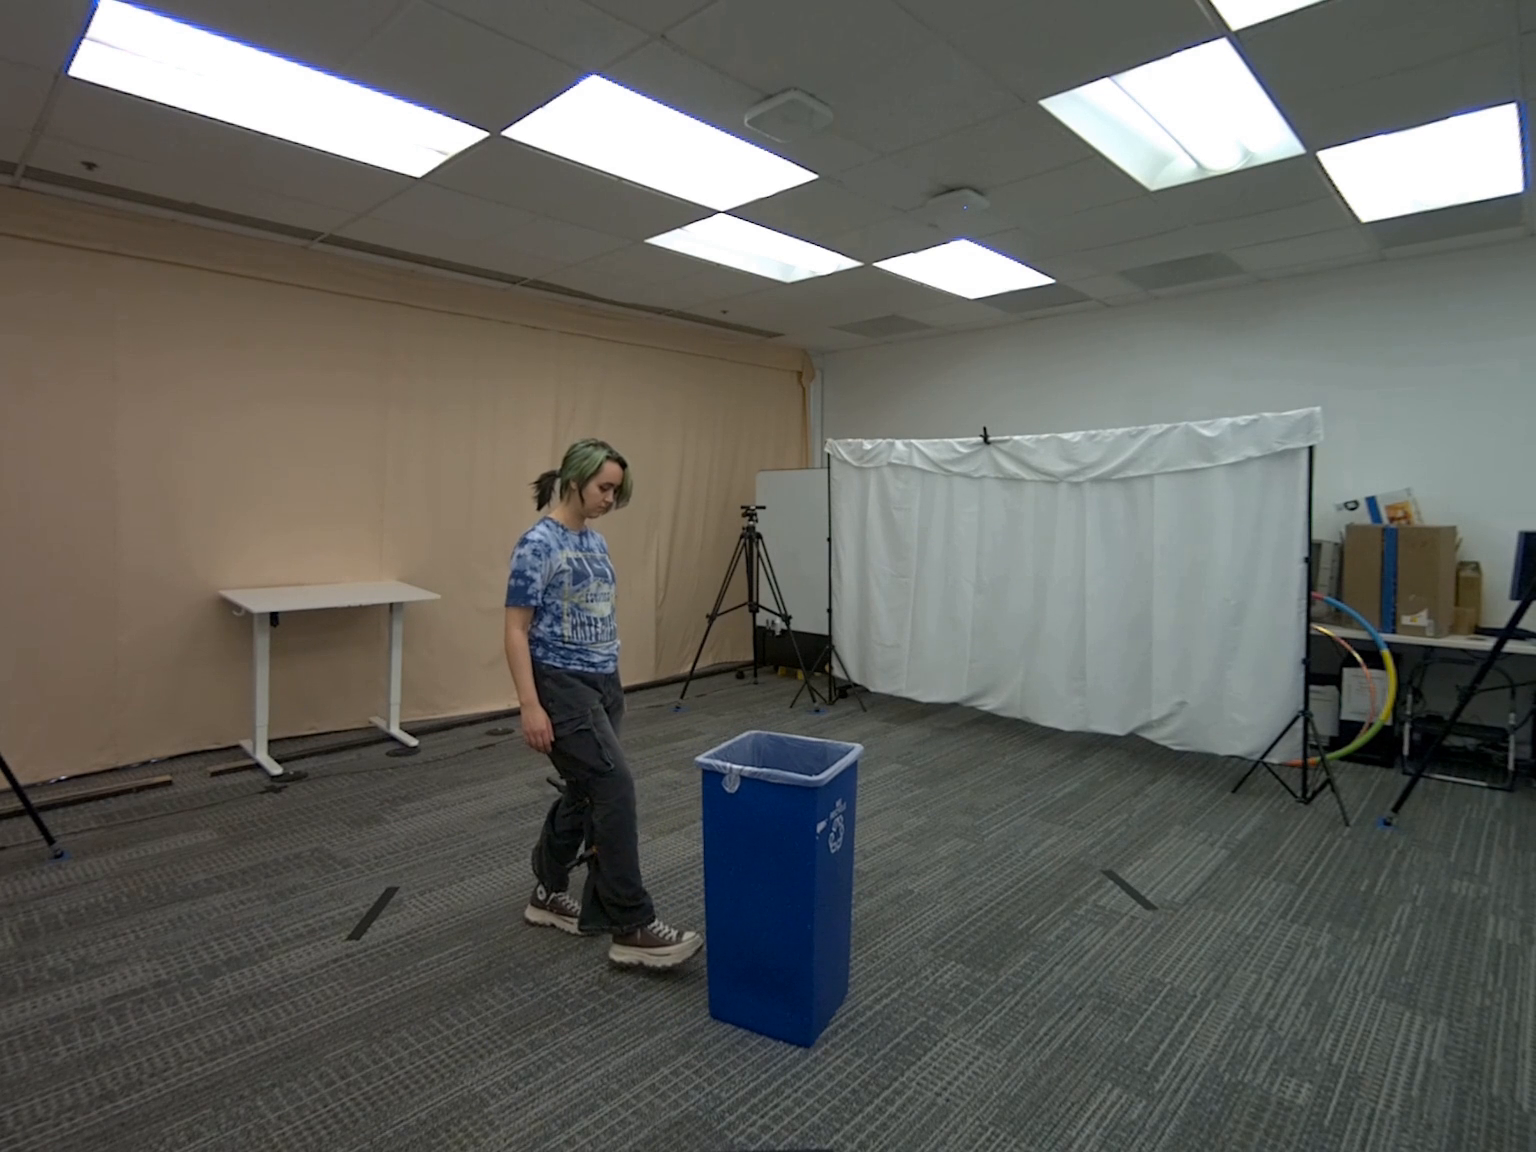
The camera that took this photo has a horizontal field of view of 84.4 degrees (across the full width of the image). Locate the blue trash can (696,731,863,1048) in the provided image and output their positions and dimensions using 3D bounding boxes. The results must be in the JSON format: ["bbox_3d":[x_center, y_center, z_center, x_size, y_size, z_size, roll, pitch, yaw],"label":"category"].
[{"bbox_3d":[0.042,0.841,2.341,0.388,0.712,0.365,2,3,27],"label":"blue trash can"}]
